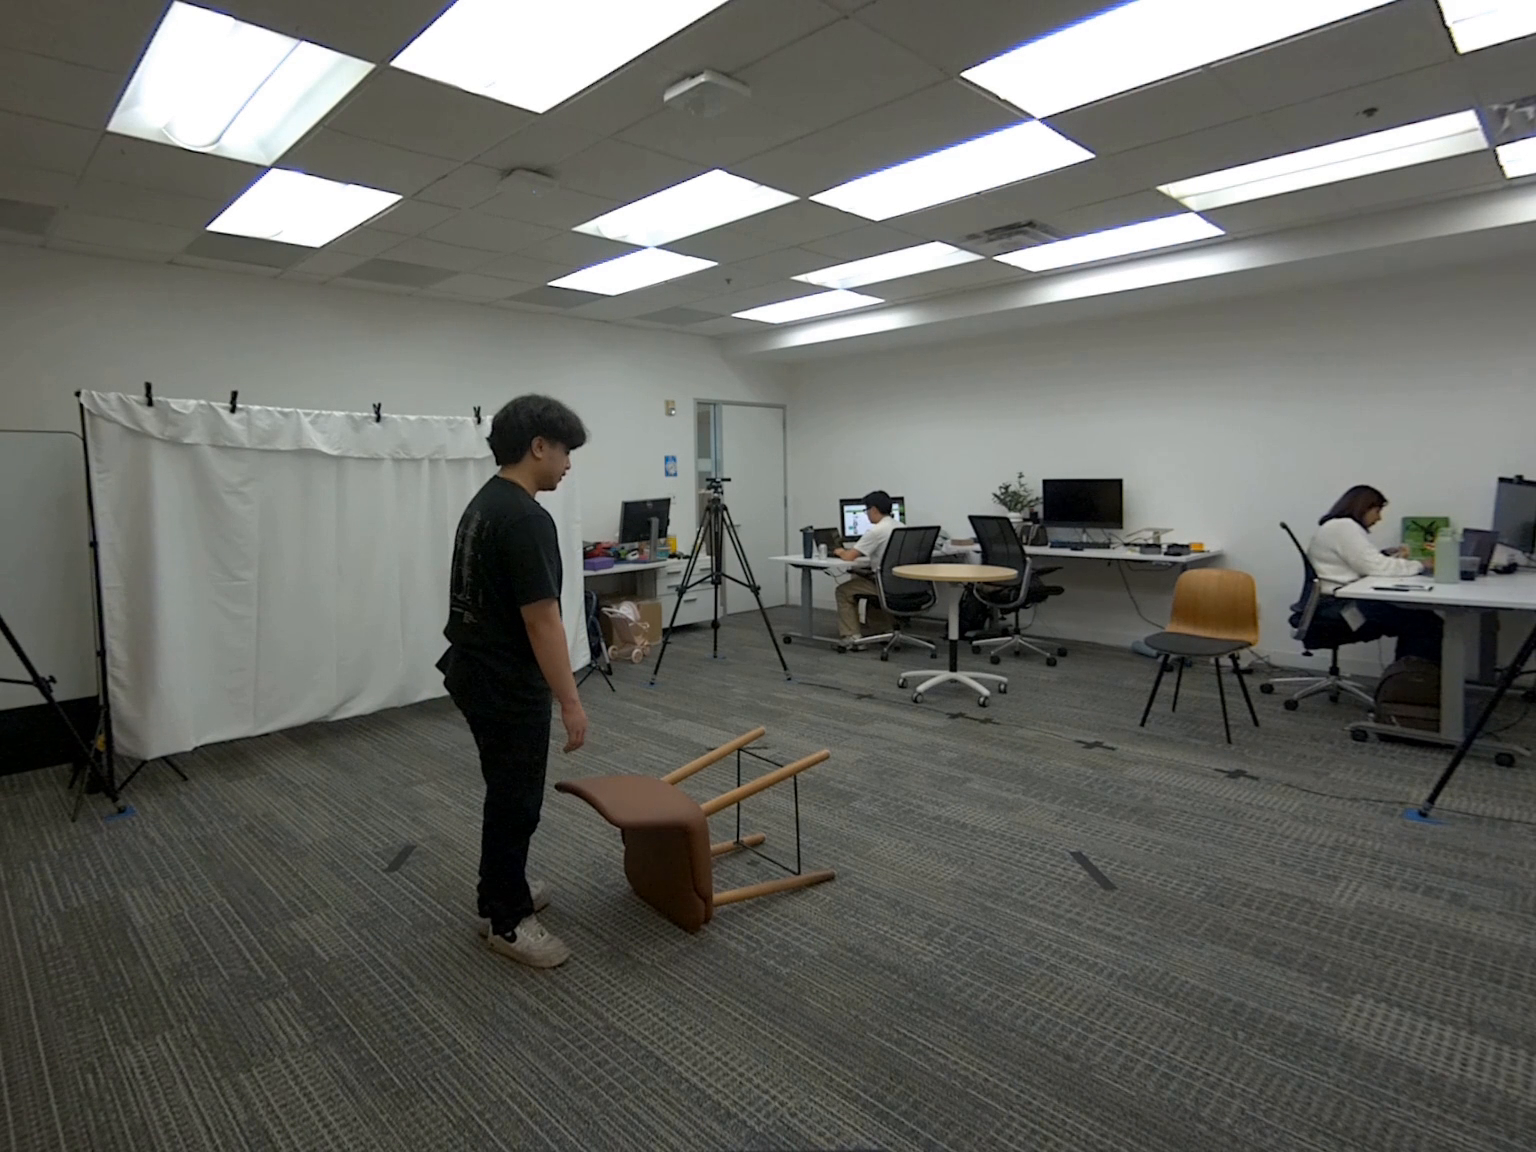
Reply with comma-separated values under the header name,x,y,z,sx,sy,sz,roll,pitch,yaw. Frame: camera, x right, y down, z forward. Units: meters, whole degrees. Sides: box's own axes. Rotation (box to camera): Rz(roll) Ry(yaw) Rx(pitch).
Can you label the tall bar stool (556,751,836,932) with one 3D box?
name,x,y,z,sx,sy,sz,roll,pitch,yaw
tall bar stool,-0.230,0.848,2.853,0.866,0.465,0.471,-5,7,-39
